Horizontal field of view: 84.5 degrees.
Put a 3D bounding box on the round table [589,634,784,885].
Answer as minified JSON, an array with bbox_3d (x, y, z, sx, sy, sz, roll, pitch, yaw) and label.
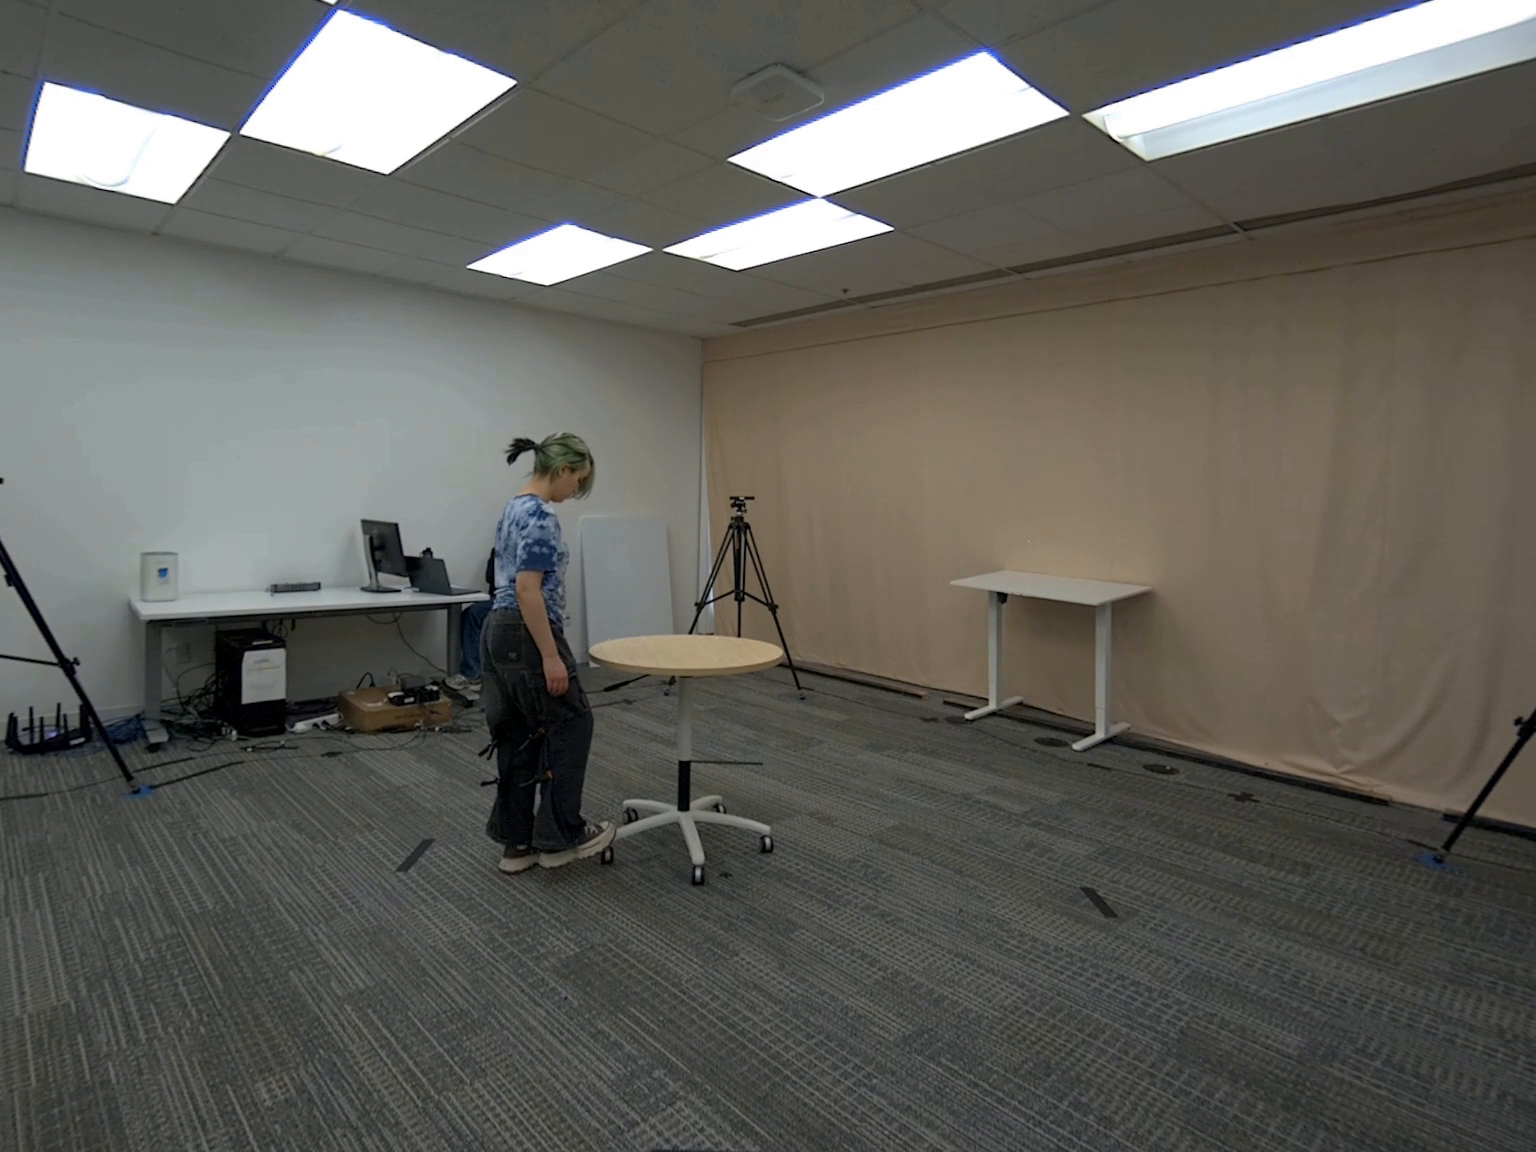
[{"bbox_3d":[-0.337,0.689,3.356,0.763,0.792,0.766,1,4,-1],"label":"round table"}]
